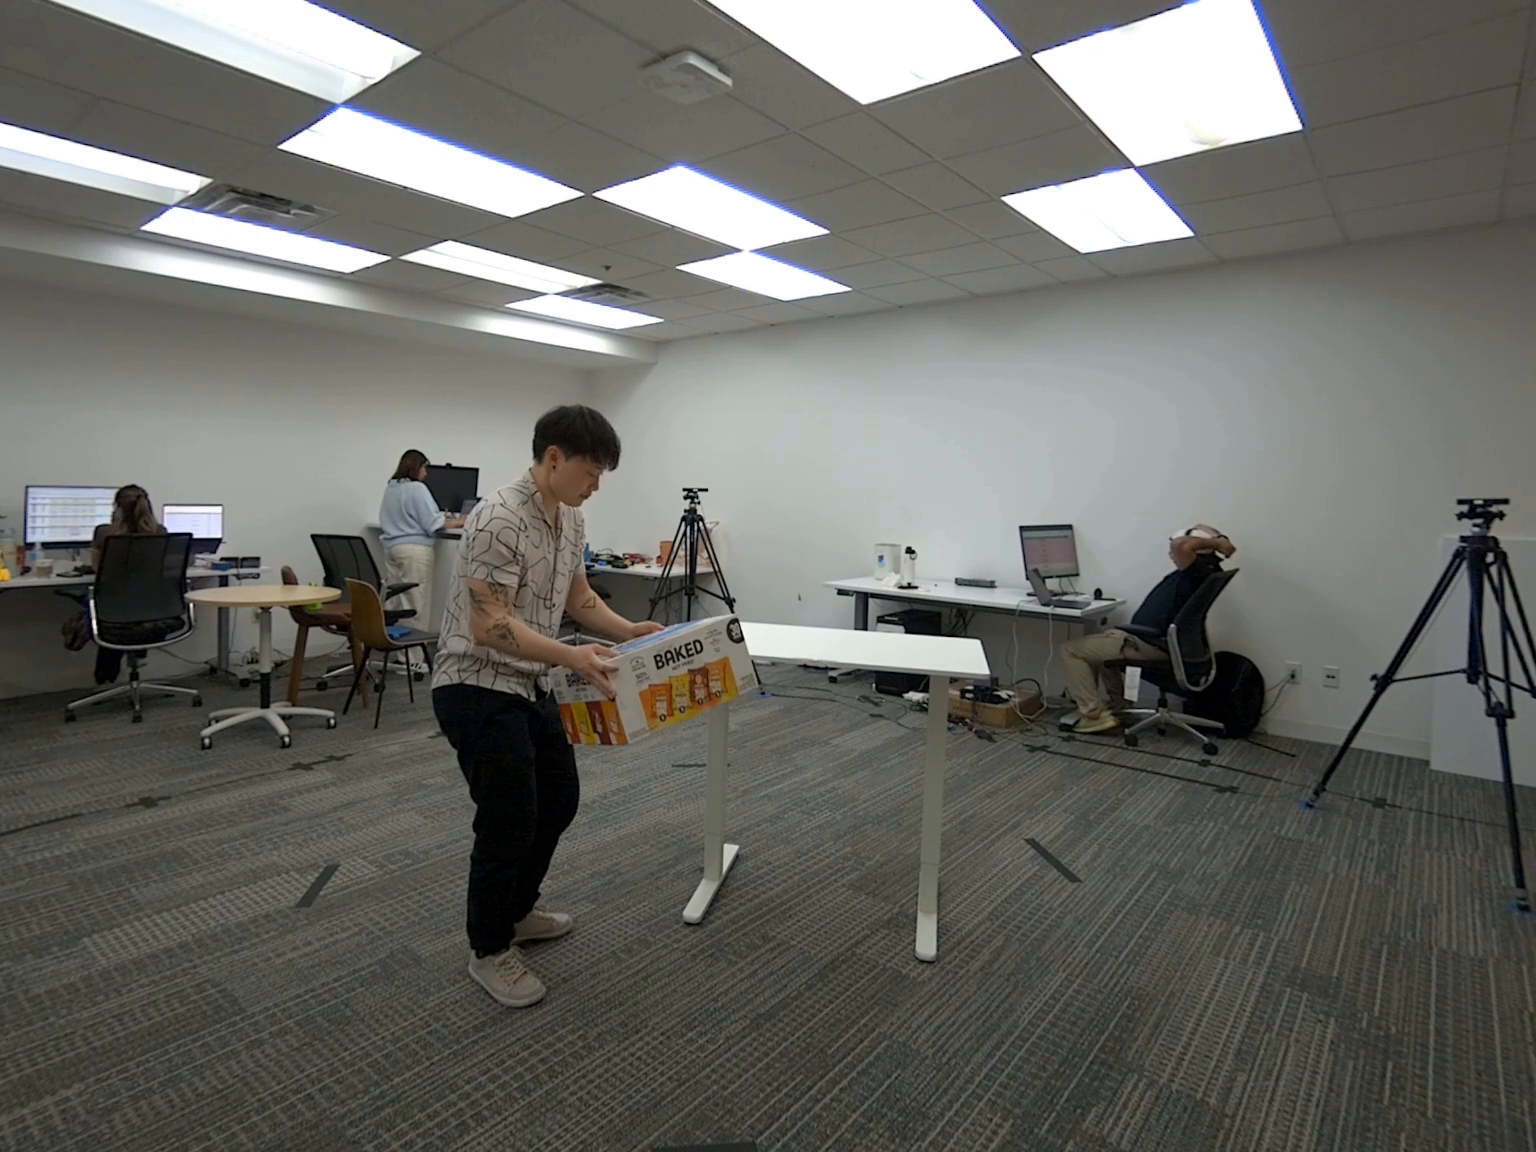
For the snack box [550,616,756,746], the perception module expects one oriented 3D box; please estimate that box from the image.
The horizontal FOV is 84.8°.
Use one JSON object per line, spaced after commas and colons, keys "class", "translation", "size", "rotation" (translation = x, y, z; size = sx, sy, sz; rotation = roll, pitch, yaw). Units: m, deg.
{"class": "snack box", "translation": [-0.306, 0.271, 2.211], "size": [0.396, 0.206, 0.348], "rotation": [-18, 2, -38]}
